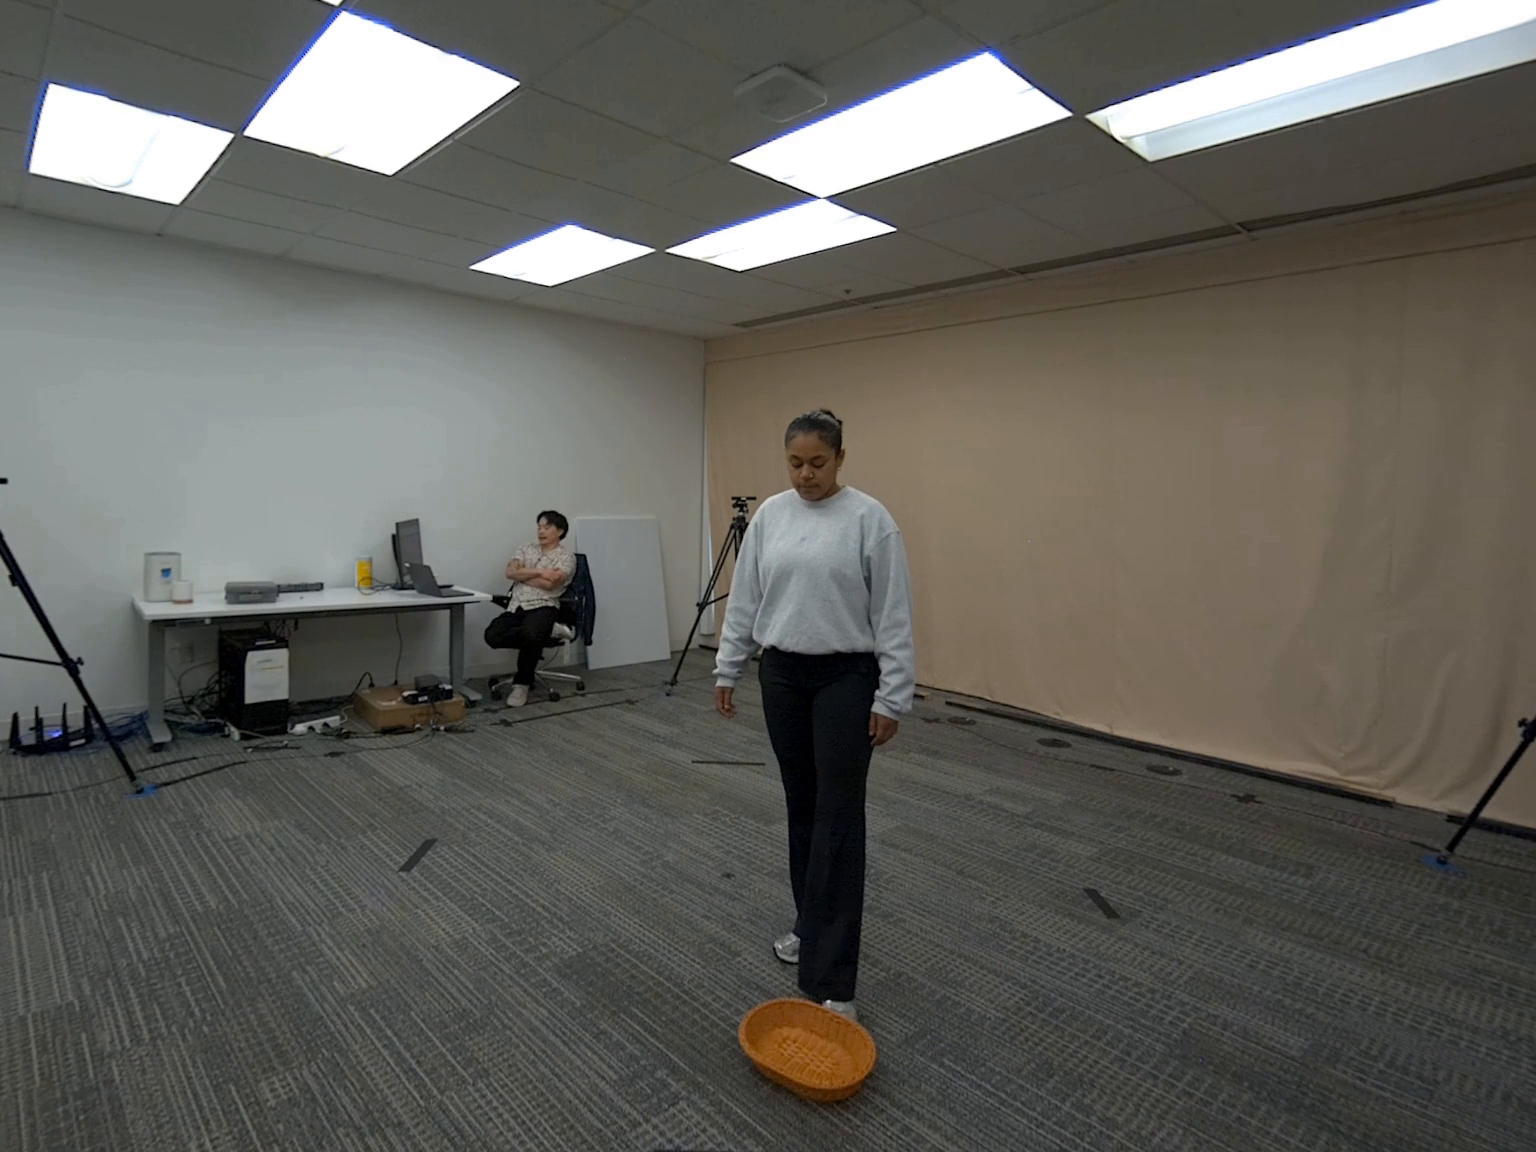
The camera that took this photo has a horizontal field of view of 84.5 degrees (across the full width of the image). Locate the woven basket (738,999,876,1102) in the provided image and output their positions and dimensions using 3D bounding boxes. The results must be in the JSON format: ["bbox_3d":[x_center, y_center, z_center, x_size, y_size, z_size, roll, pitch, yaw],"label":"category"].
[{"bbox_3d":[0.103,1.170,2.067,0.359,0.073,0.247,7,14,42],"label":"woven basket"}]
